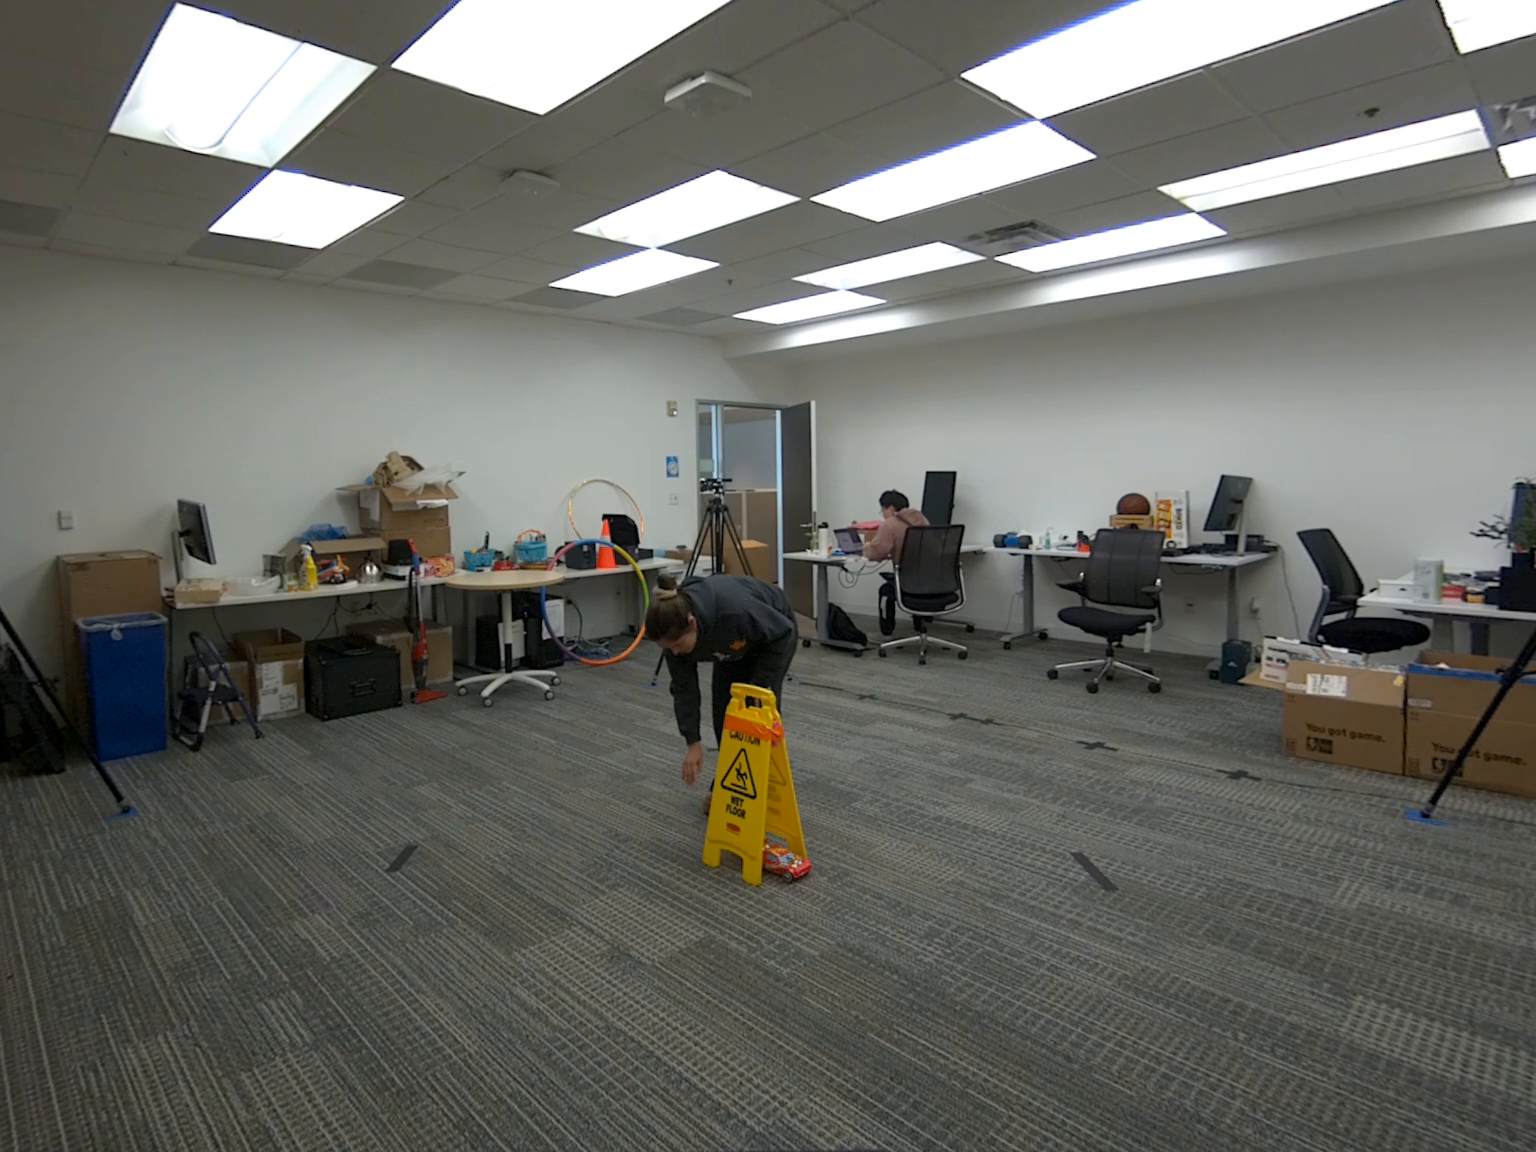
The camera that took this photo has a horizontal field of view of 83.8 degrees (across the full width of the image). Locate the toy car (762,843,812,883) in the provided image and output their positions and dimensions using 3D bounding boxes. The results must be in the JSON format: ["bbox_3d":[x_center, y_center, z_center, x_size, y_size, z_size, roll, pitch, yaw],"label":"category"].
[{"bbox_3d":[0.020,1.023,3.030,0.263,0.082,0.127,17,16,41],"label":"toy car"}]
